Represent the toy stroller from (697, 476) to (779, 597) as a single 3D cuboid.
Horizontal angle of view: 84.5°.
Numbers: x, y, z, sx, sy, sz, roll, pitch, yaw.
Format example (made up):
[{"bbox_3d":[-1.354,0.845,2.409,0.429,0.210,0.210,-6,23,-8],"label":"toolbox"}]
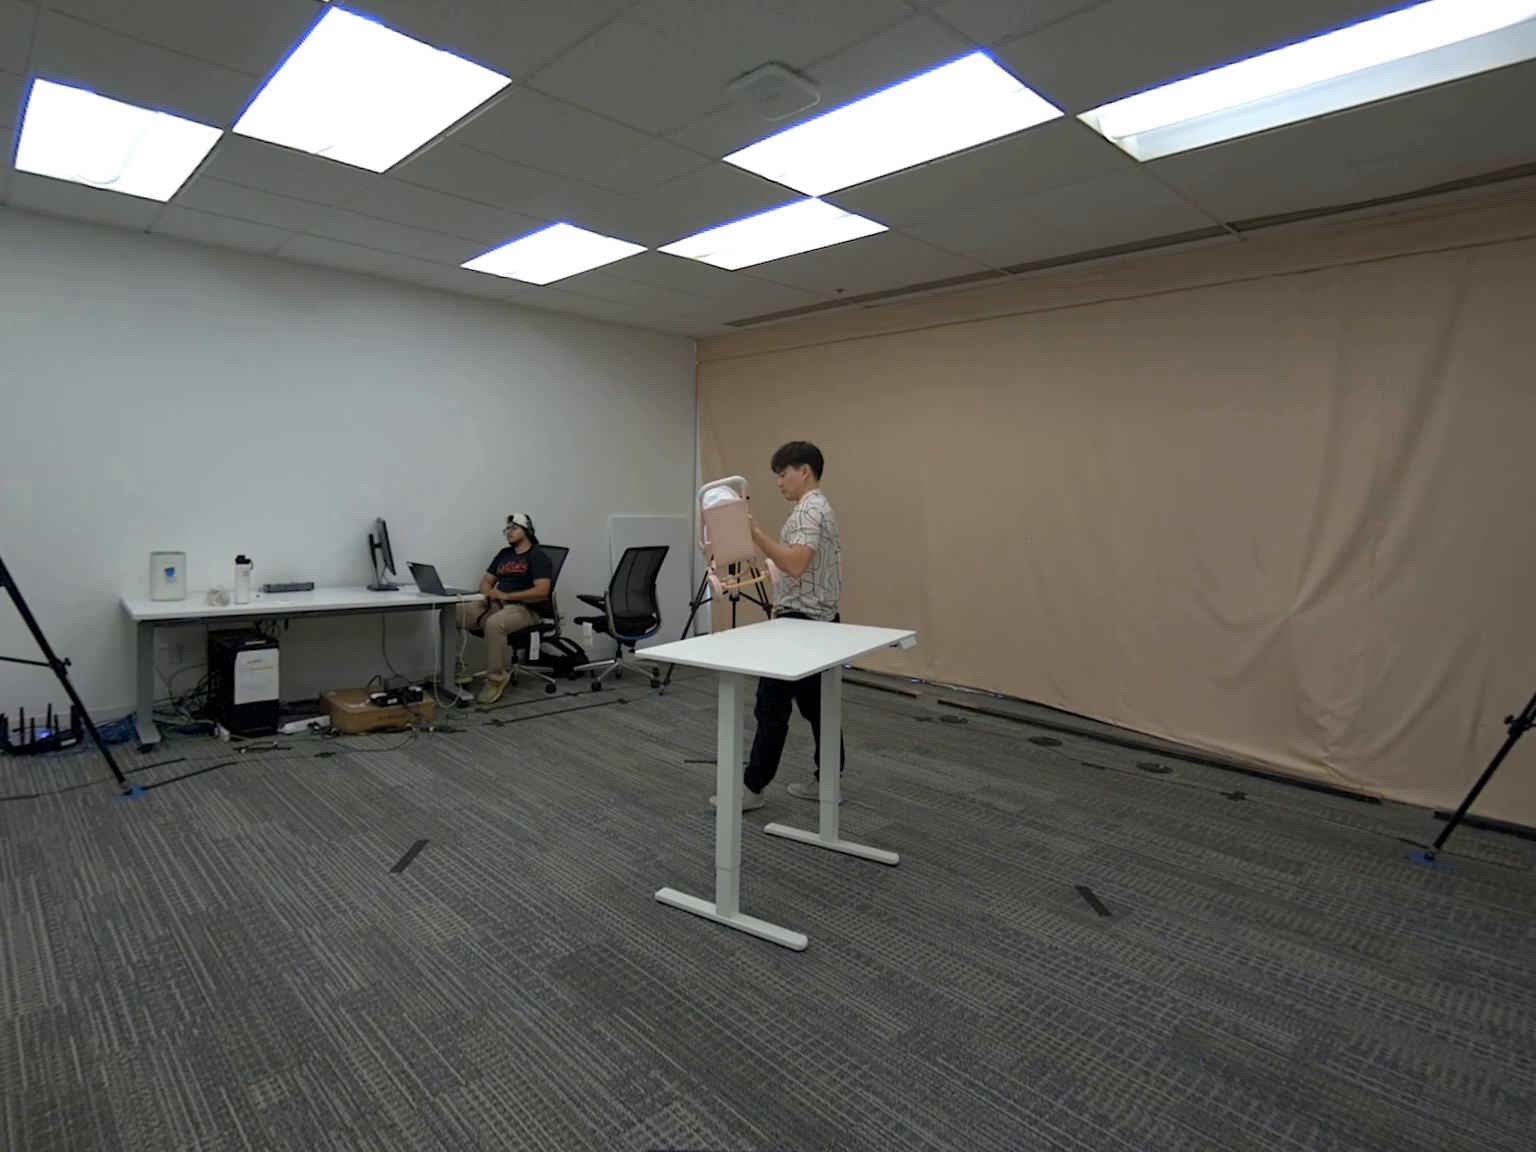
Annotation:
[{"bbox_3d":[-0.171,-0.149,3.546,0.280,0.530,0.346,-16,9,-10],"label":"toy stroller"}]
